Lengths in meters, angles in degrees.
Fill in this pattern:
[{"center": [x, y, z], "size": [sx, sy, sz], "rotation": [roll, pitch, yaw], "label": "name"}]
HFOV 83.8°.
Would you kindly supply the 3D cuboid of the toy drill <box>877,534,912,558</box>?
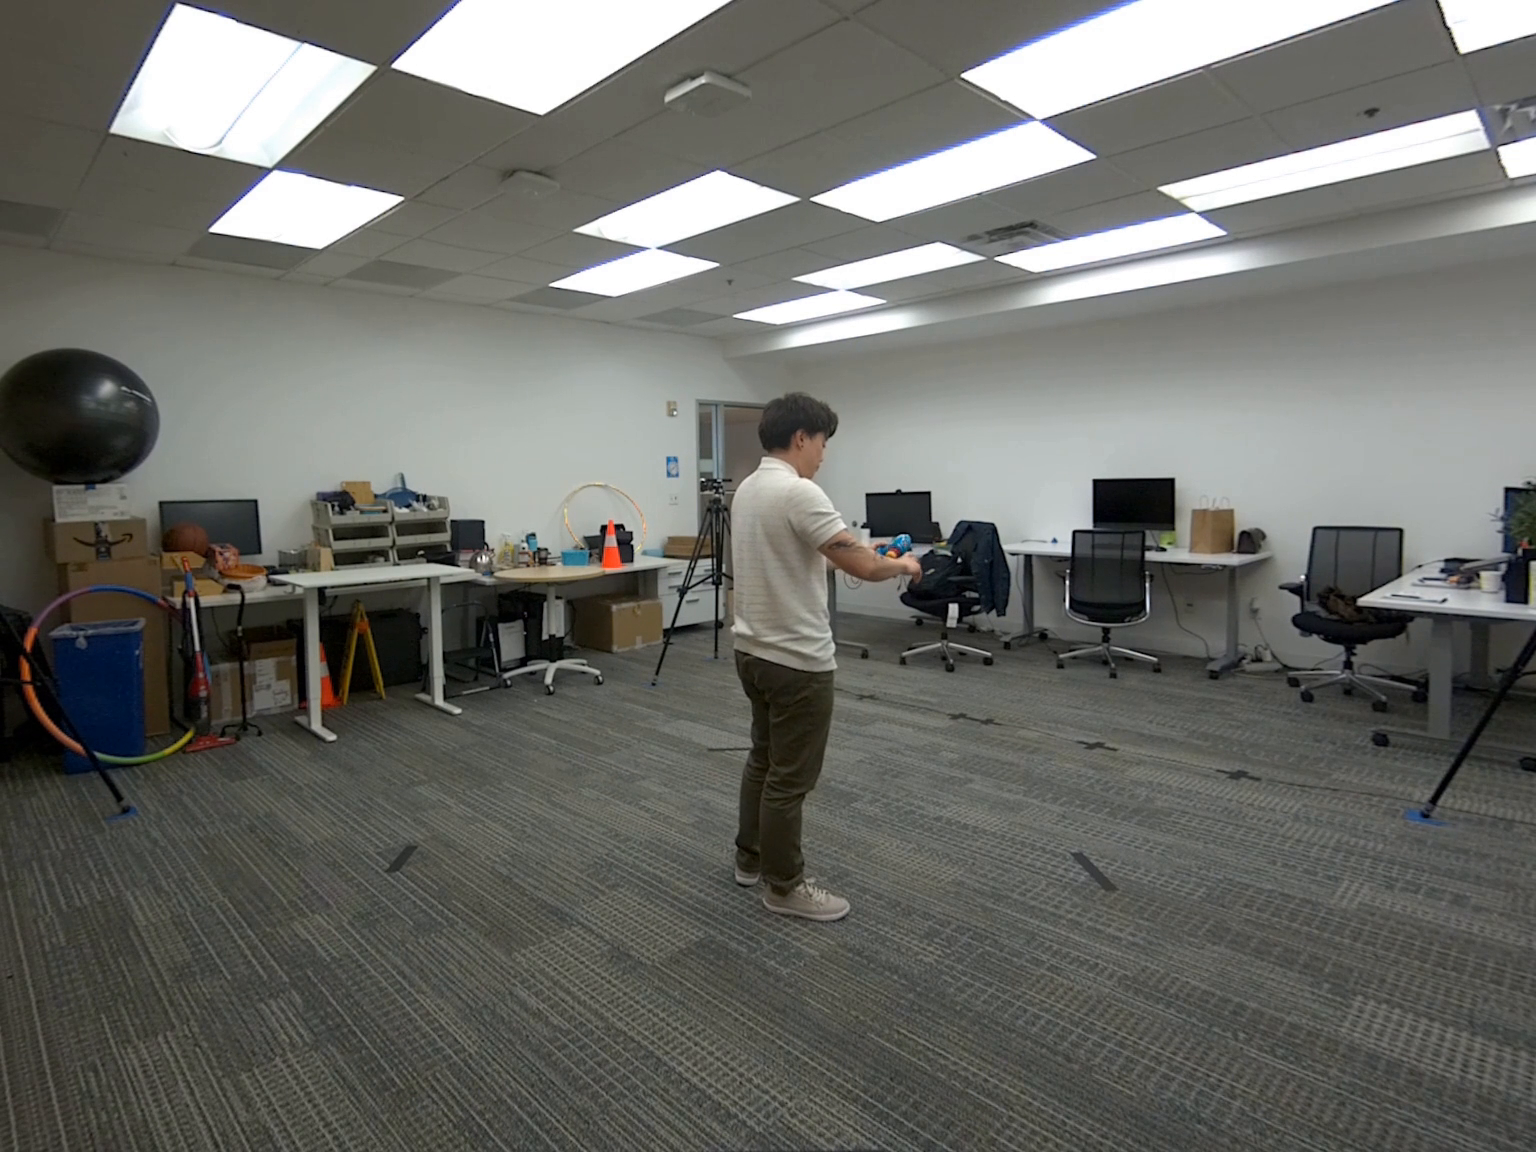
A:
[{"center": [0.403, -0.073, 2.869], "size": [0.148, 0.060, 0.169], "rotation": [-21, 18, 48], "label": "toy drill"}]
